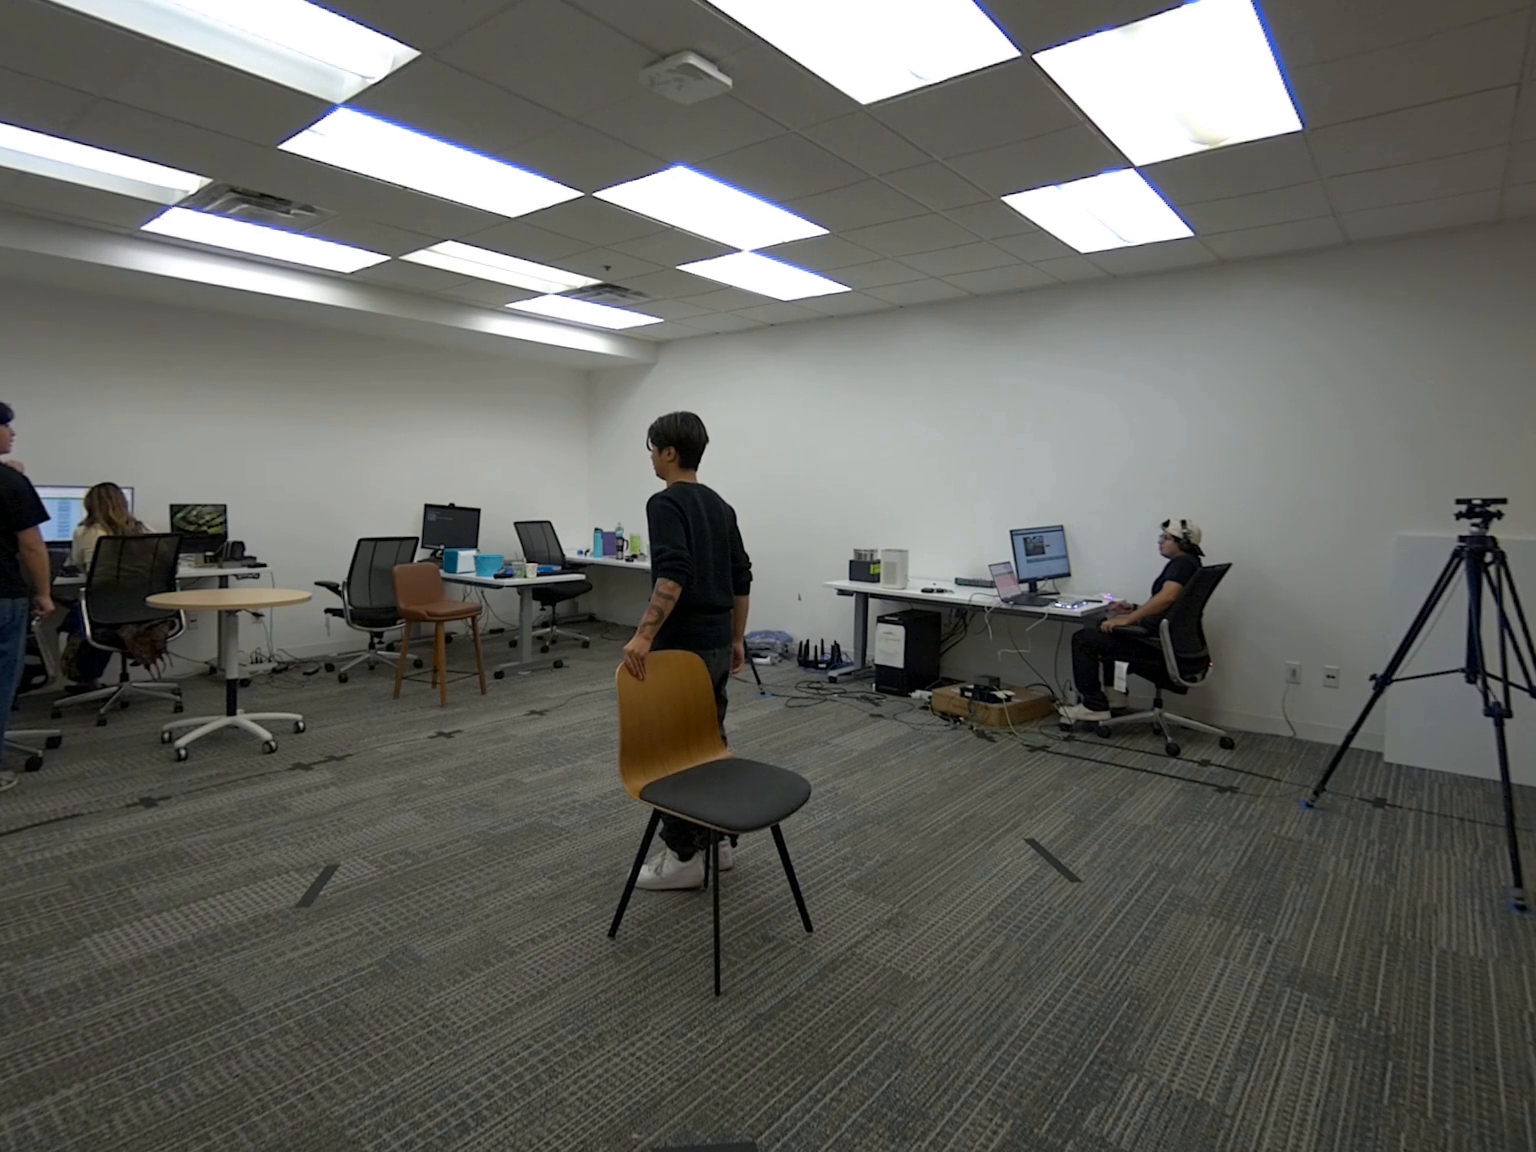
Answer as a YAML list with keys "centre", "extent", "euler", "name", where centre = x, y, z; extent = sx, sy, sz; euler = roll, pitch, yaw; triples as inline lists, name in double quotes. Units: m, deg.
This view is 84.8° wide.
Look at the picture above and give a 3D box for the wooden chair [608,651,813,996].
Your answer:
- centre: [-0.176, 0.687, 2.602]
  extent: [0.539, 0.877, 0.464]
  euler: [-2, 2, 39]
  name: "wooden chair"
